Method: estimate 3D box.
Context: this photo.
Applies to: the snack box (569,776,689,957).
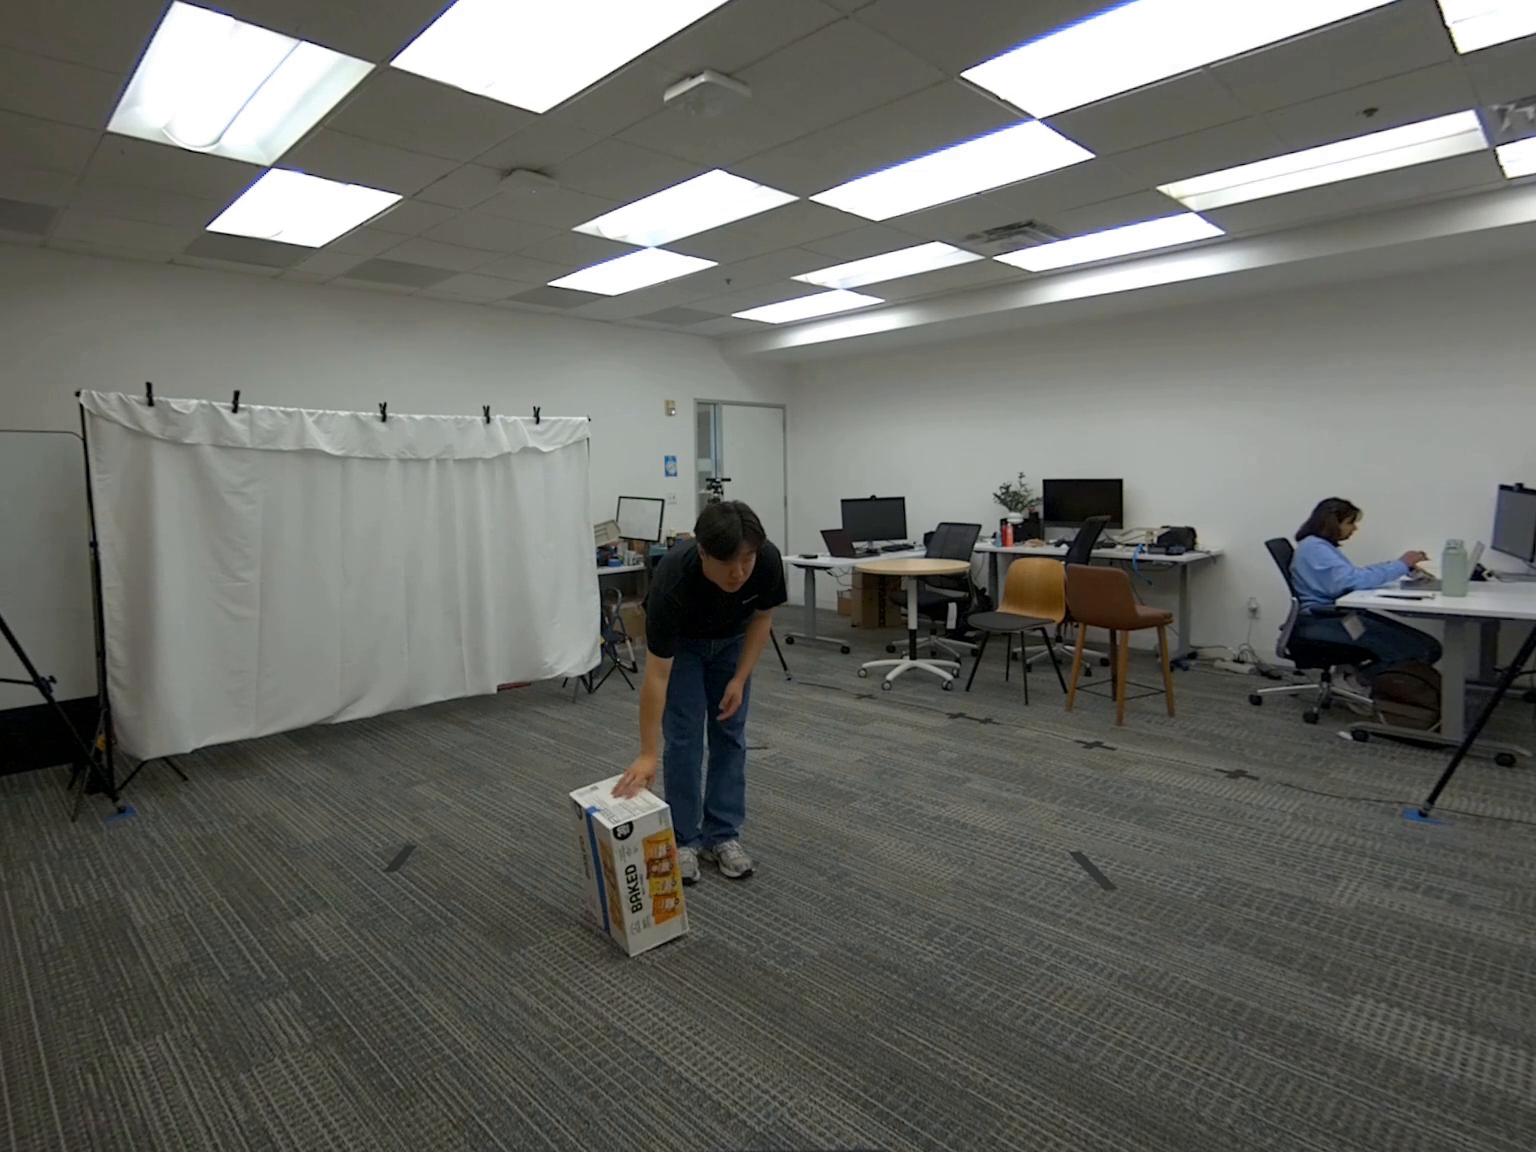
[{"bbox_3d":[-0.440,0.880,2.668,0.201,0.402,0.350,-11,10,-32],"label":"snack box"}]
